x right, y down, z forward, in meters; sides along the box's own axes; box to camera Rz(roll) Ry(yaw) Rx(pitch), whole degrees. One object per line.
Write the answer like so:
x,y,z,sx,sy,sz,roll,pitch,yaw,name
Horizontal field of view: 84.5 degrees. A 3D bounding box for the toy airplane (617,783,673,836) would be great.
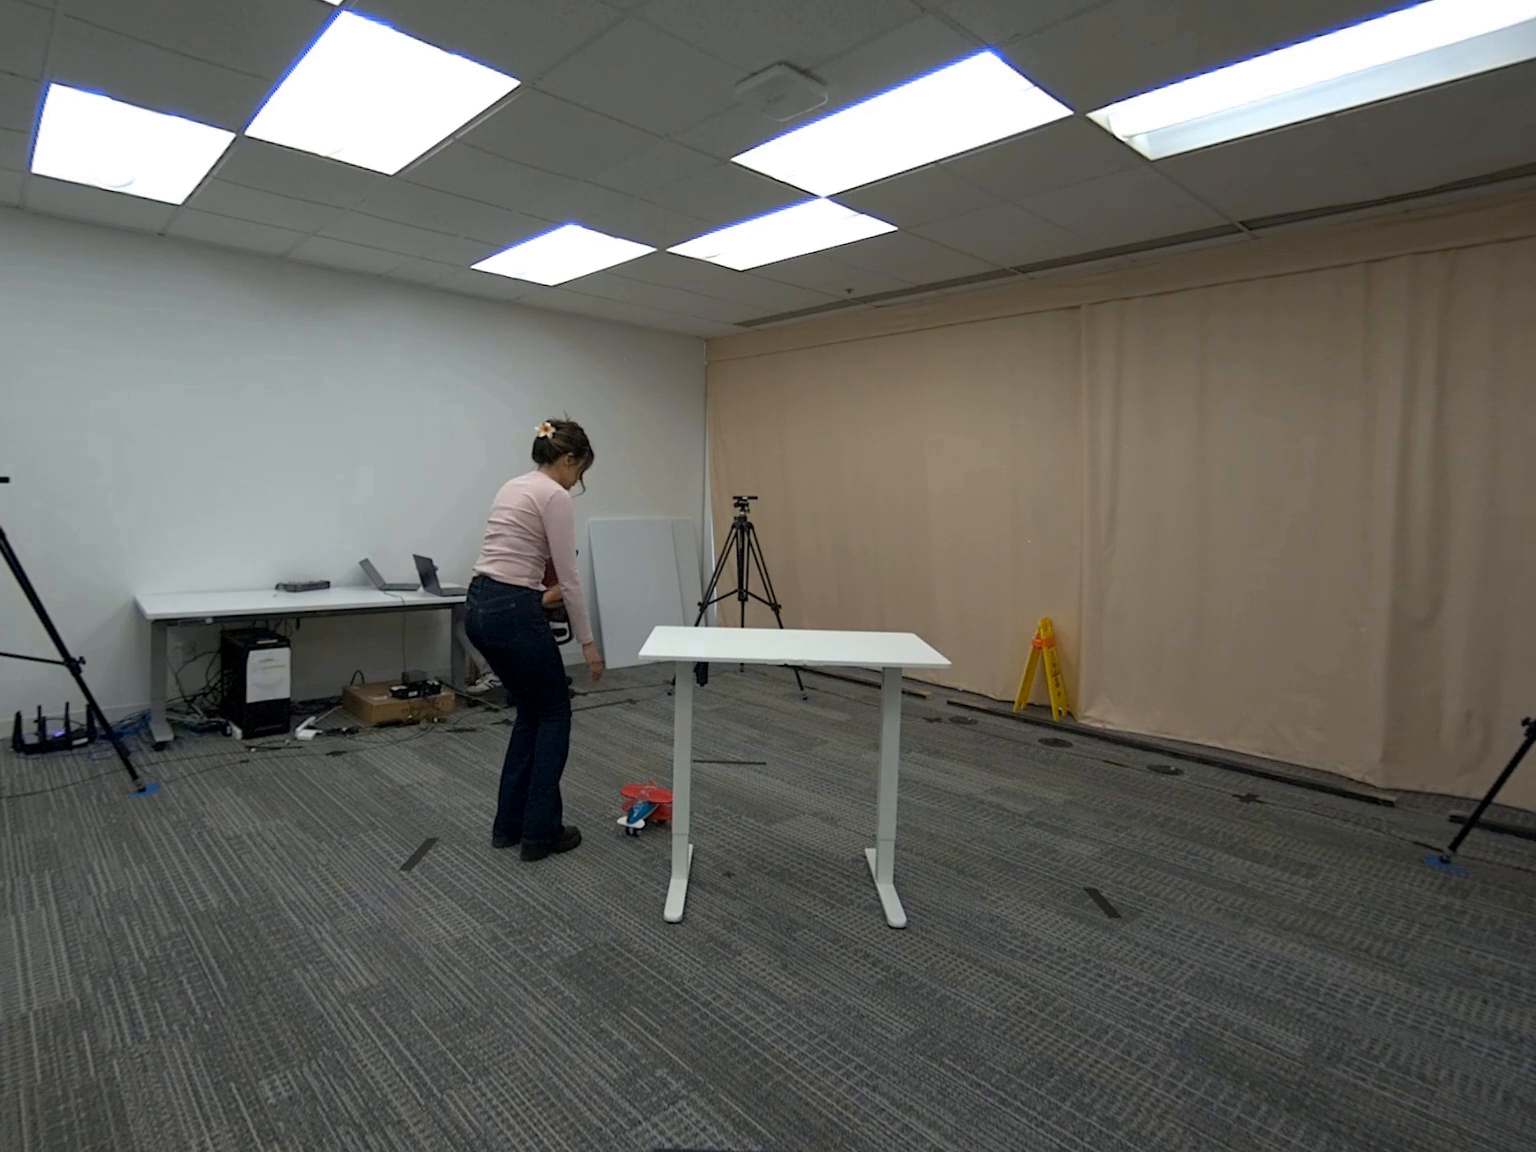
-0.512,0.982,3.522,0.250,0.156,0.261,2,3,-7,toy airplane
